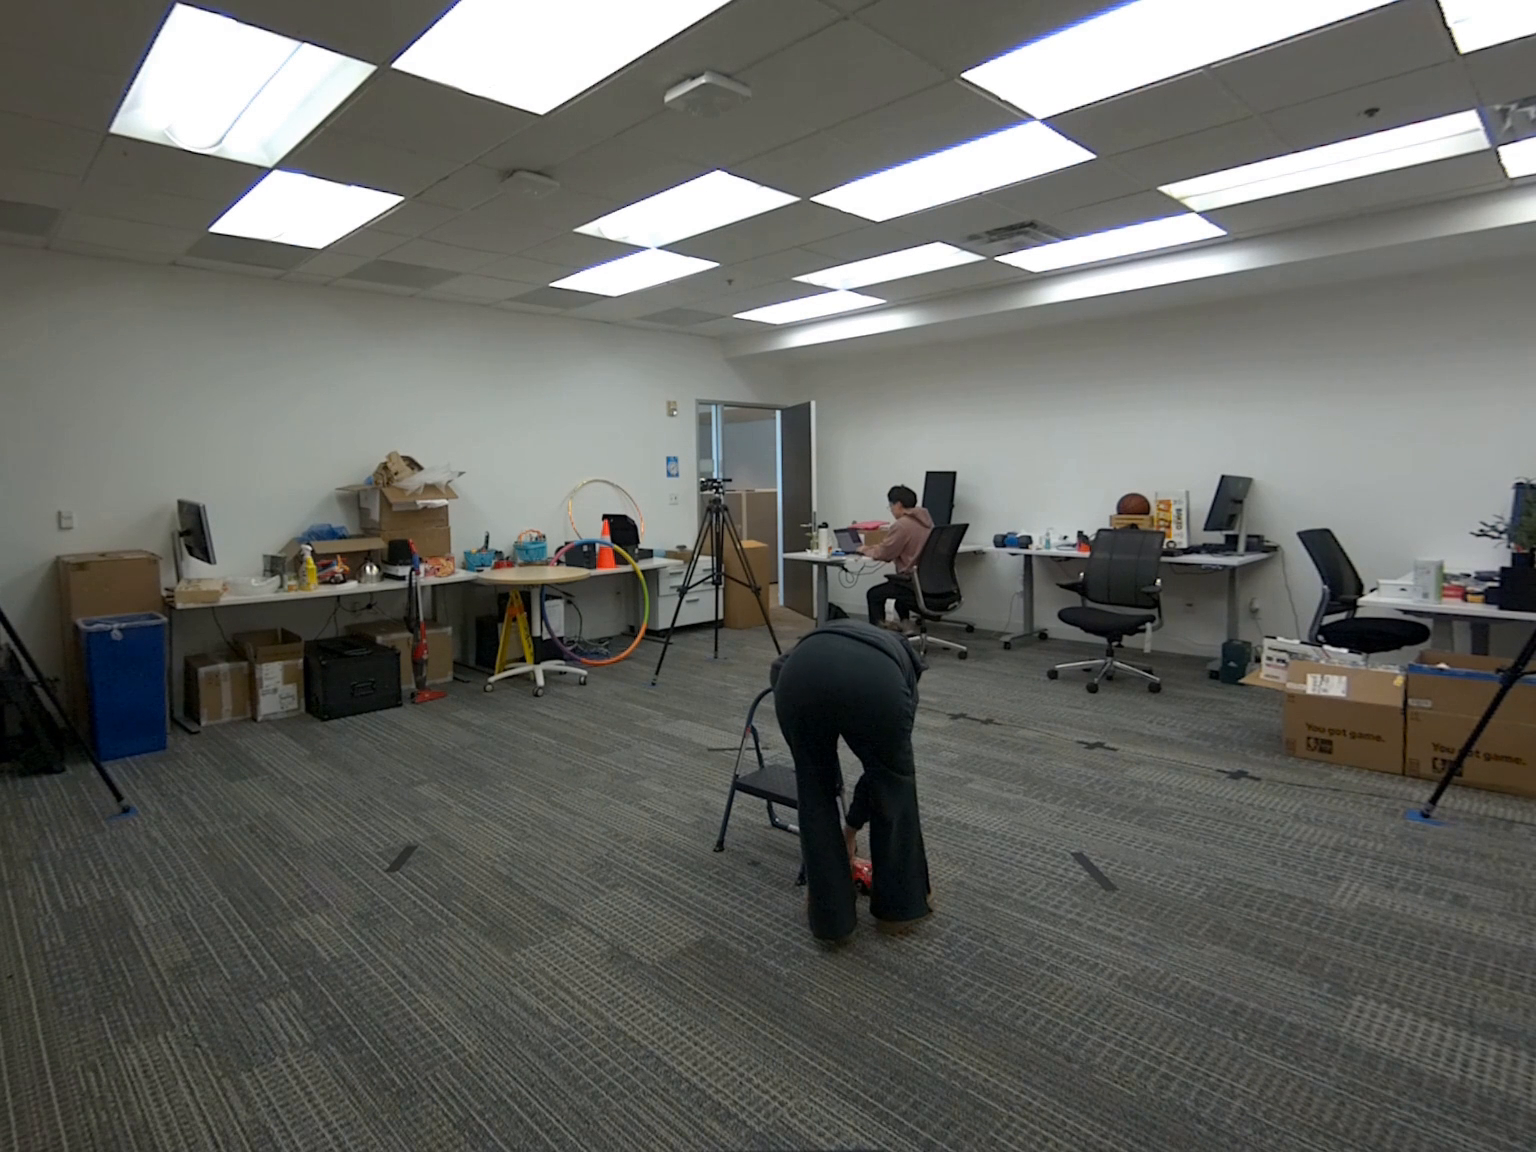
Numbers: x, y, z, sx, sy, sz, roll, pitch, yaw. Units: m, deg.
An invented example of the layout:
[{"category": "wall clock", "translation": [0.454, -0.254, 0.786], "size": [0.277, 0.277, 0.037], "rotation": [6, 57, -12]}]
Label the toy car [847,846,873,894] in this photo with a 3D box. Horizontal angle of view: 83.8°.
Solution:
[{"category": "toy car", "translation": [0.343, 1.028, 2.916], "size": [0.127, 0.083, 0.260], "rotation": [-3, -4, -42]}]
